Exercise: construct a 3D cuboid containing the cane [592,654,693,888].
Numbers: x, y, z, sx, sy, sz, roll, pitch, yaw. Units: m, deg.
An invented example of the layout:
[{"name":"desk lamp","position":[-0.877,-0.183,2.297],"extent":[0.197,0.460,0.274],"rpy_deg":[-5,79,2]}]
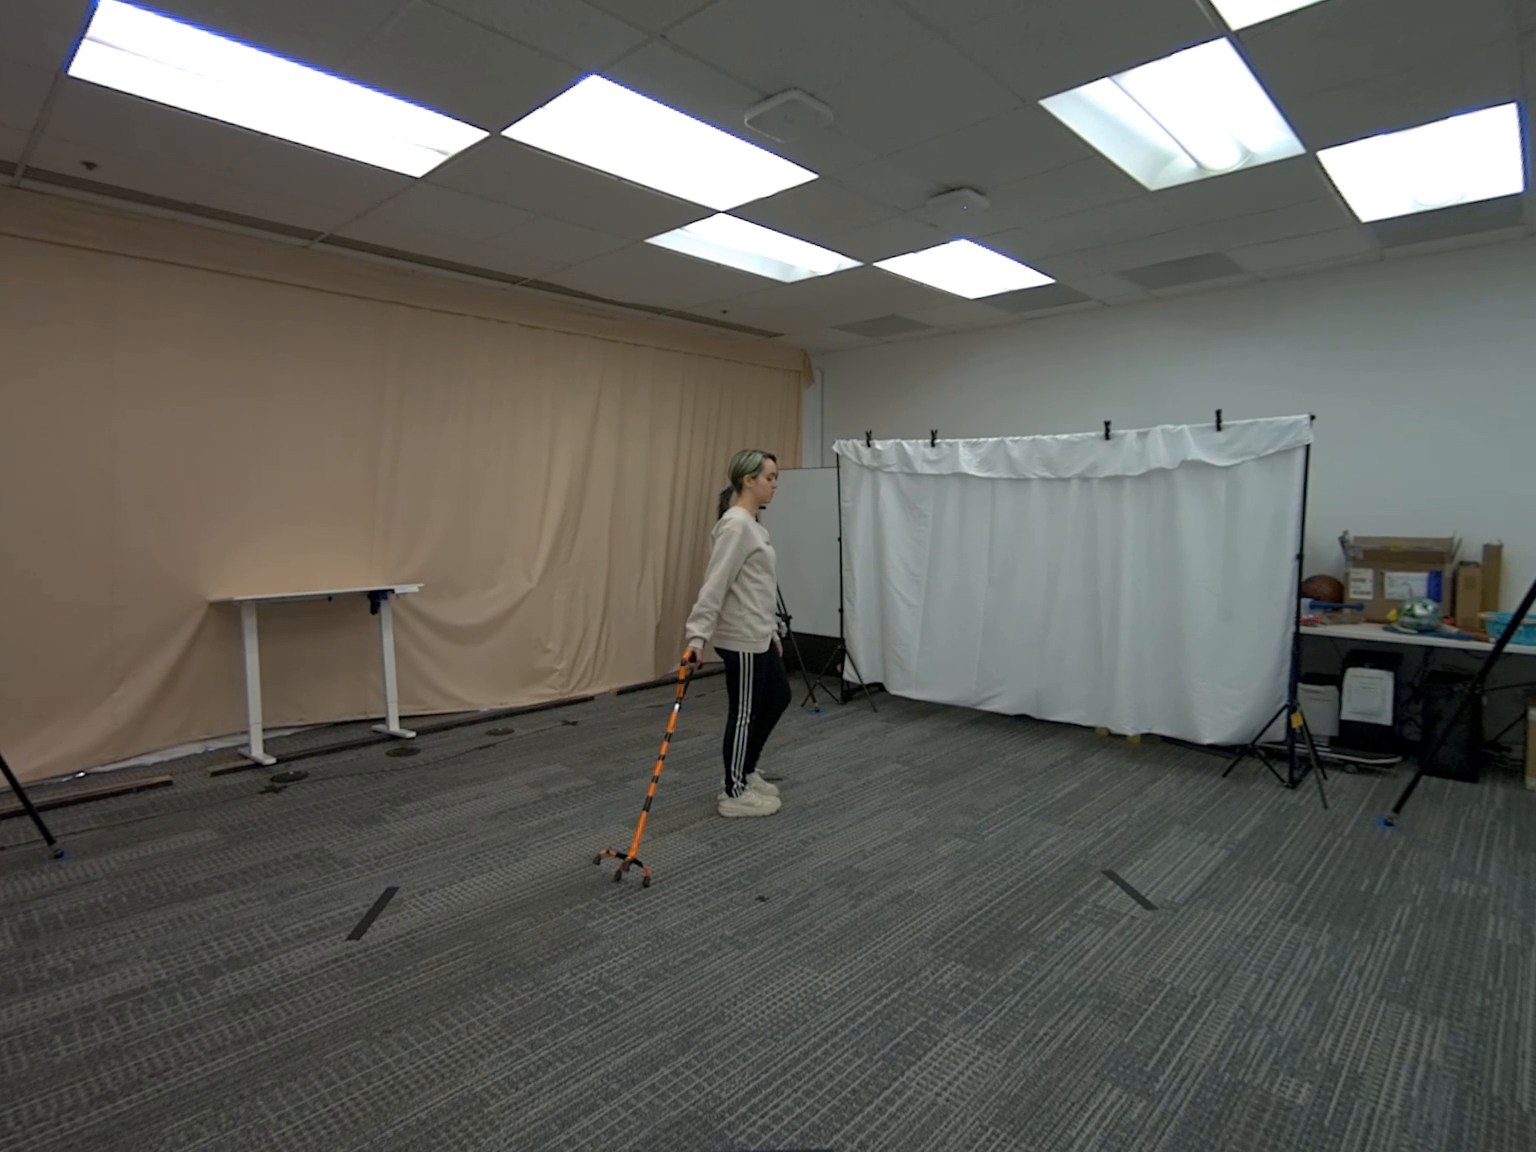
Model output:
[{"name":"cane","position":[-0.425,0.703,3.273],"extent":[0.155,0.915,0.200],"rpy_deg":[0,-33,24]}]
